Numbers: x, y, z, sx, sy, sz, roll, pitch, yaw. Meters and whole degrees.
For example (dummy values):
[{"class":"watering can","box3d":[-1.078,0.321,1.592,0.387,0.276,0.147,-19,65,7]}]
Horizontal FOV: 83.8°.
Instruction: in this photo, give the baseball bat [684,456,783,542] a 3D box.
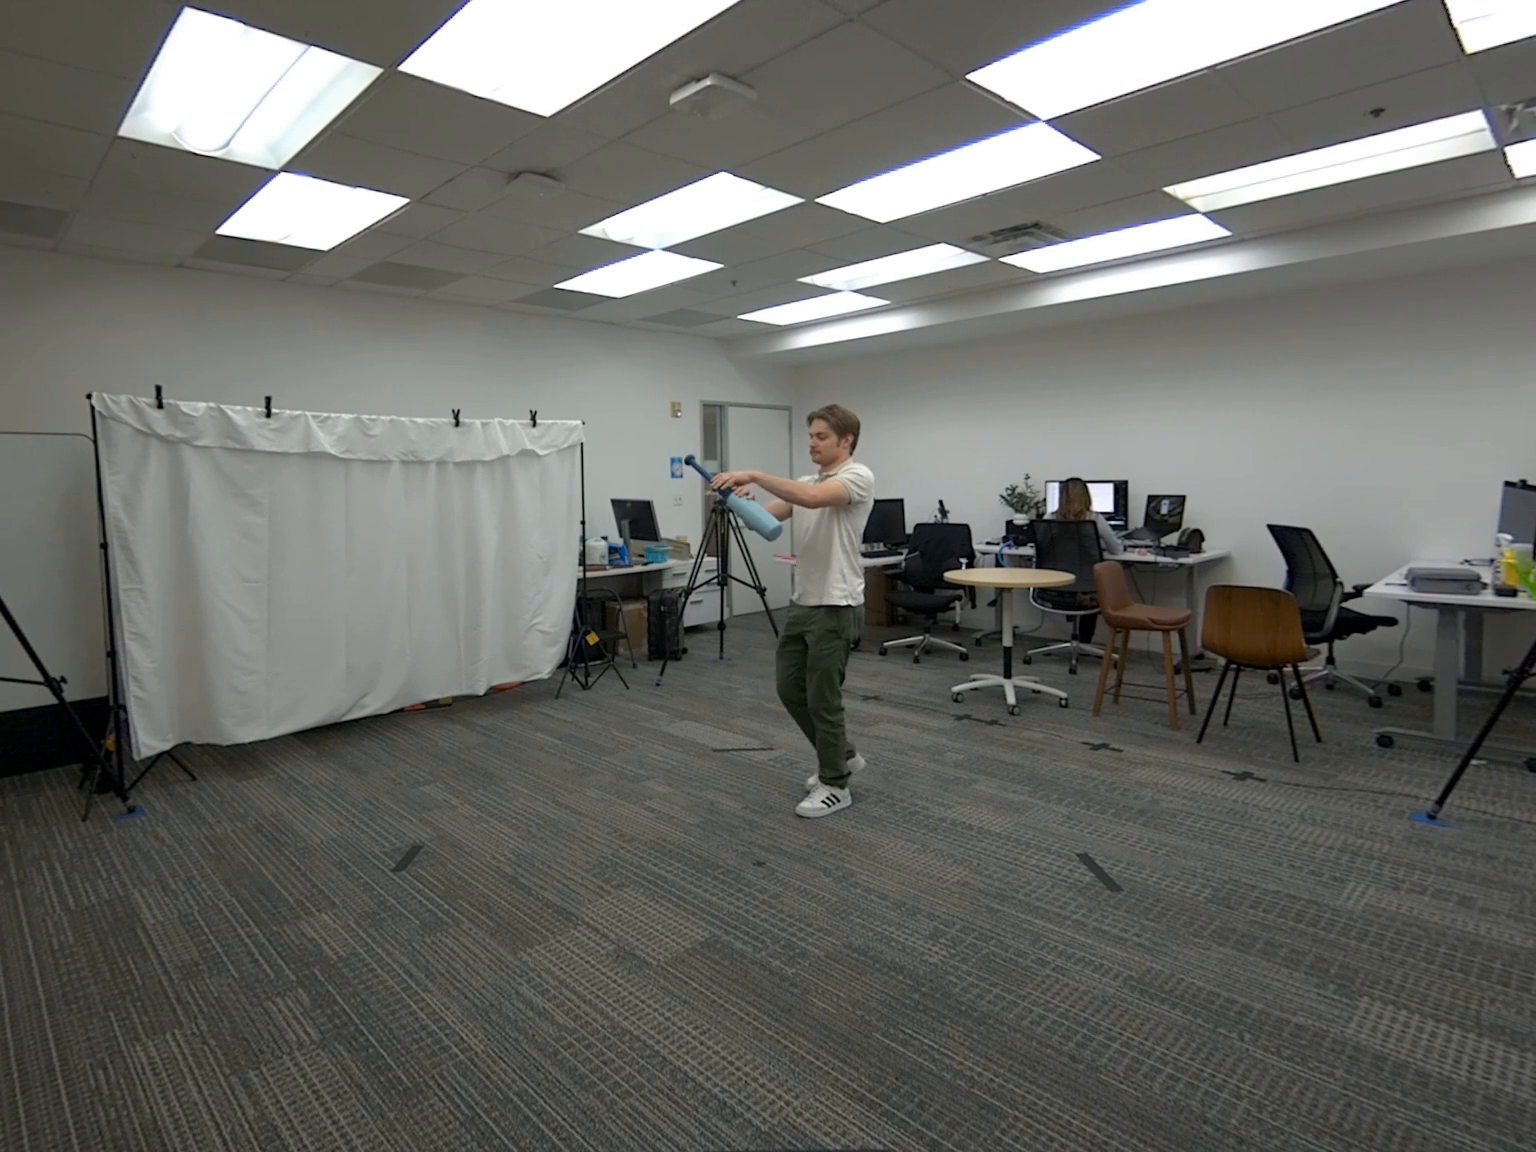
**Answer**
[{"class":"baseball bat","box3d":[-0.148,-0.317,3.380,0.562,0.088,0.087,42,28,29]}]
